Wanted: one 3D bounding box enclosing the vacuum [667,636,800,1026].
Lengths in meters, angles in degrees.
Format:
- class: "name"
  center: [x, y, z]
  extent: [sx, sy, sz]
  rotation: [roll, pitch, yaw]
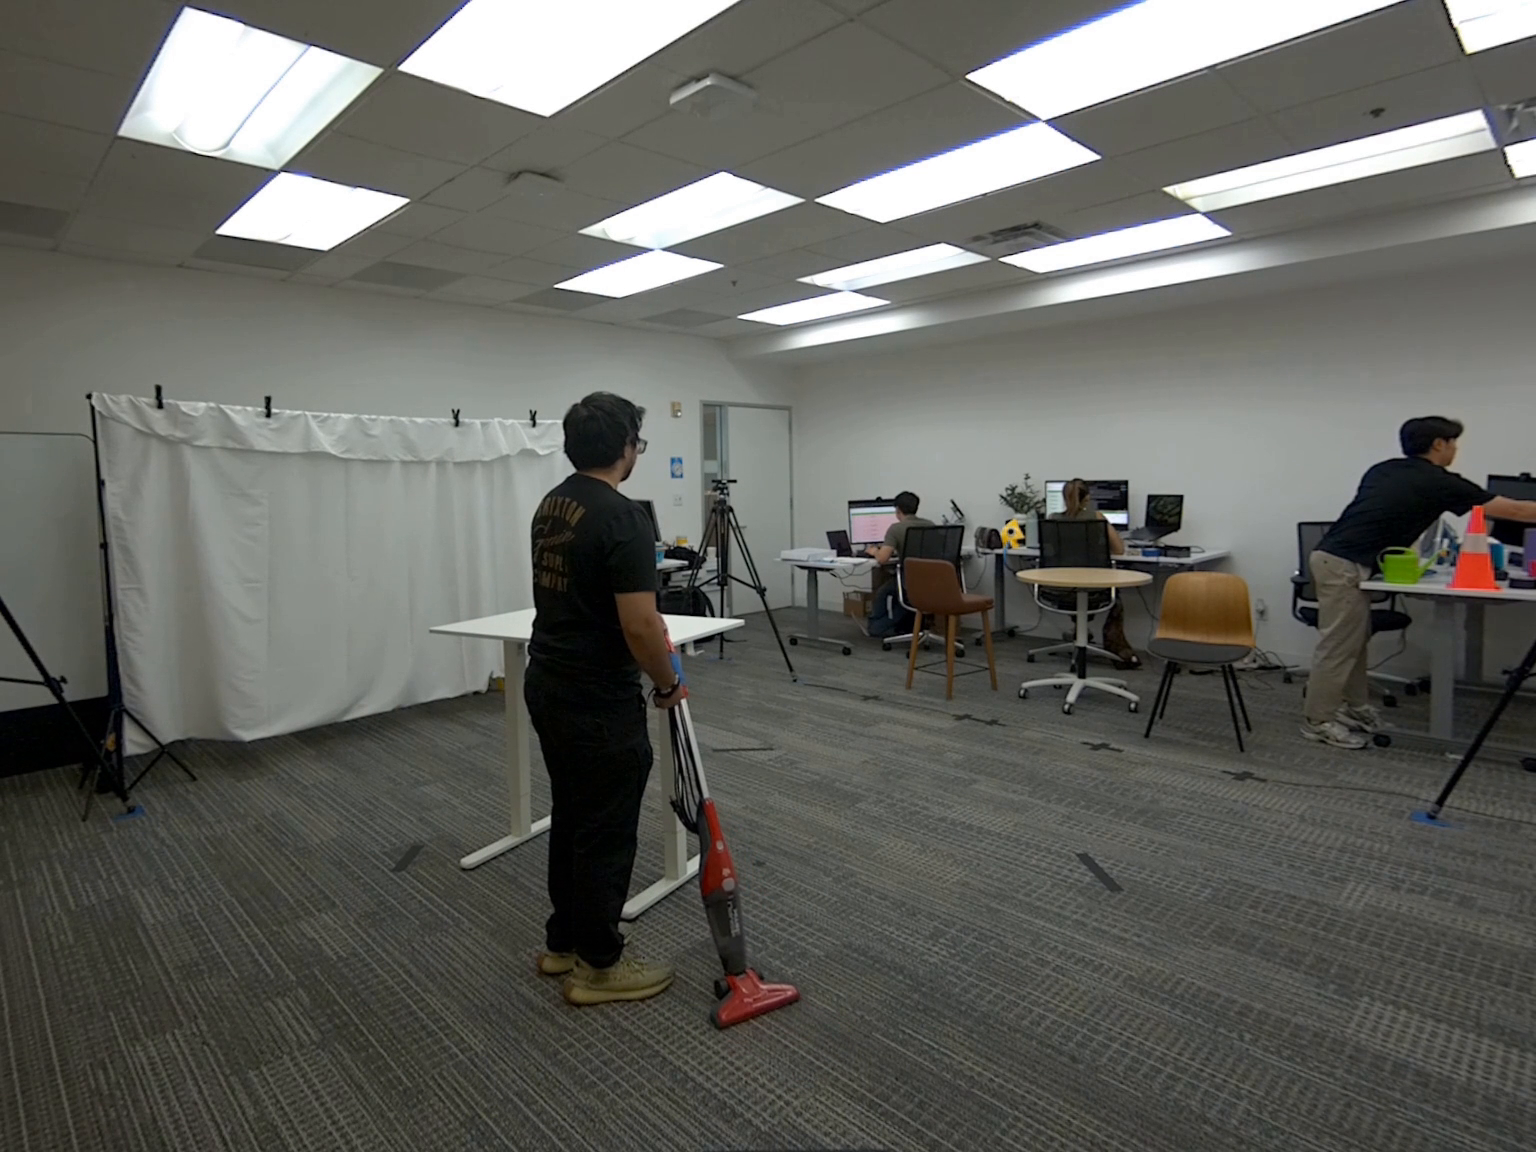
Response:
- class: "vacuum"
  center: [-0.197, 0.658, 2.489]
  extent: [0.245, 1.075, 0.144]
  rotation: [0, -28, -39]
